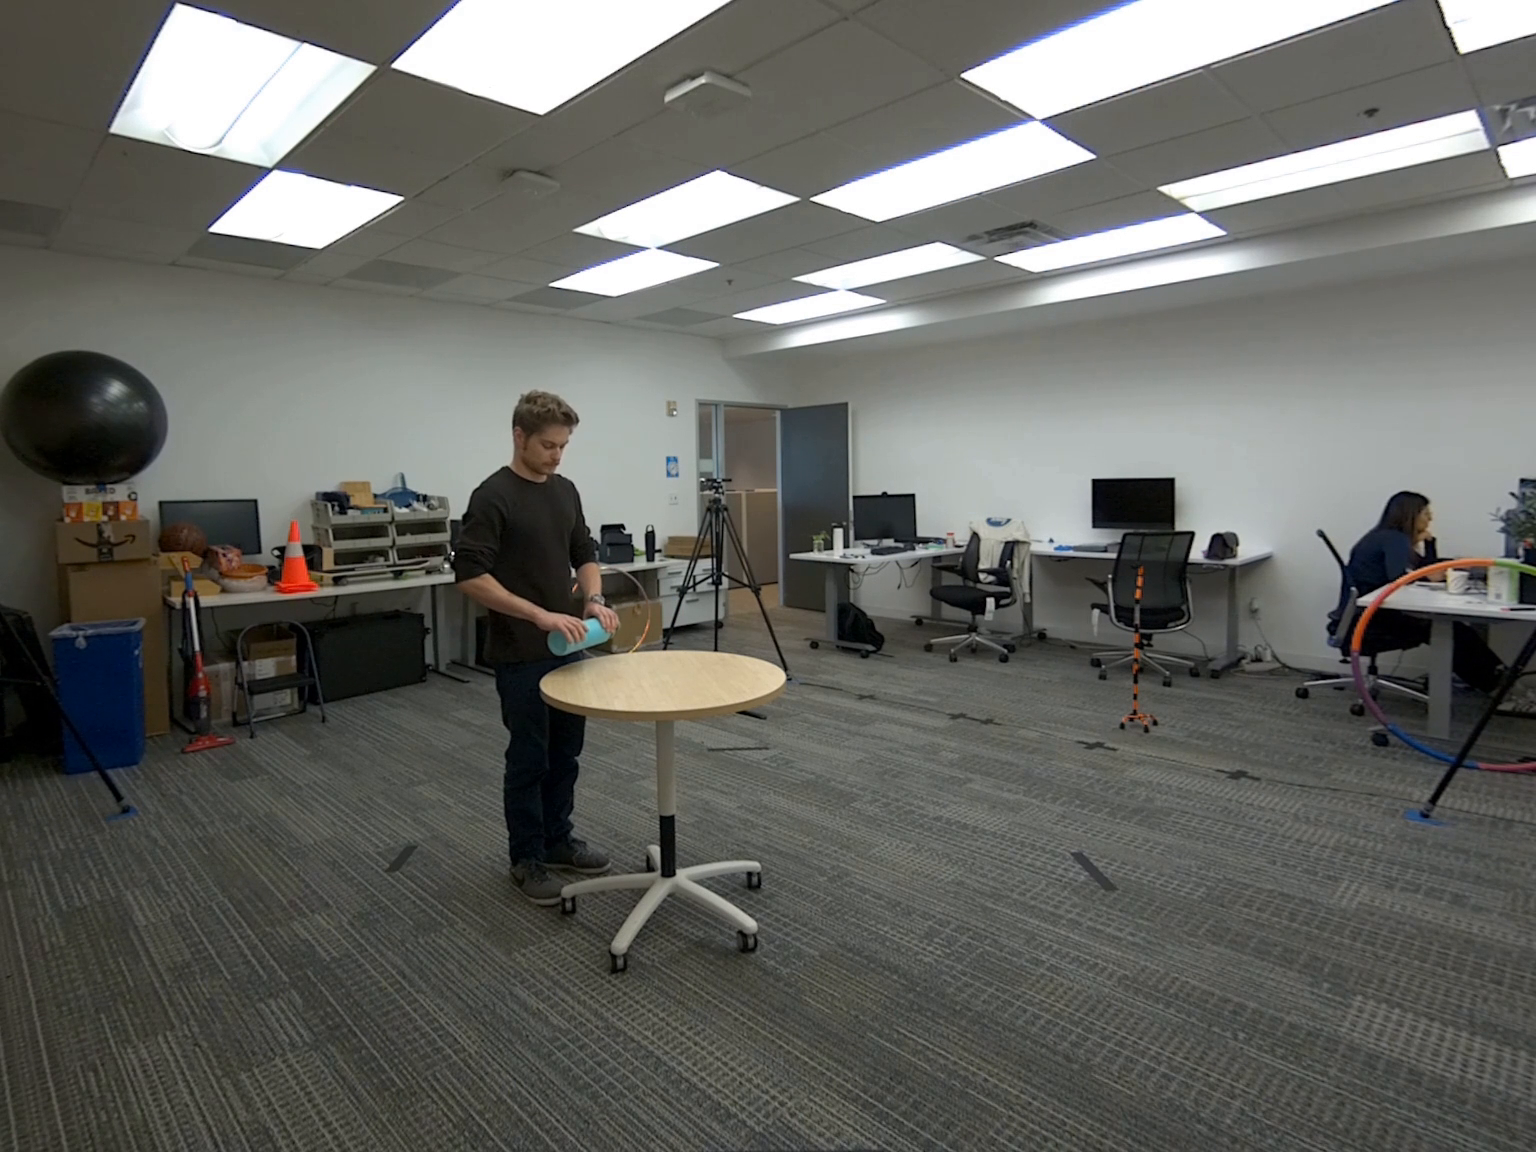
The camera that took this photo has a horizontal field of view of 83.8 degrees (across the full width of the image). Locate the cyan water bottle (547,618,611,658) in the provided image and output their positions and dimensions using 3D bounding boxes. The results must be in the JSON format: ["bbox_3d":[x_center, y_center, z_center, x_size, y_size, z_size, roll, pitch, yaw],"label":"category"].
[{"bbox_3d":[-0.605,0.191,2.836,0.094,0.092,0.278,2,9,28],"label":"cyan water bottle"}]
